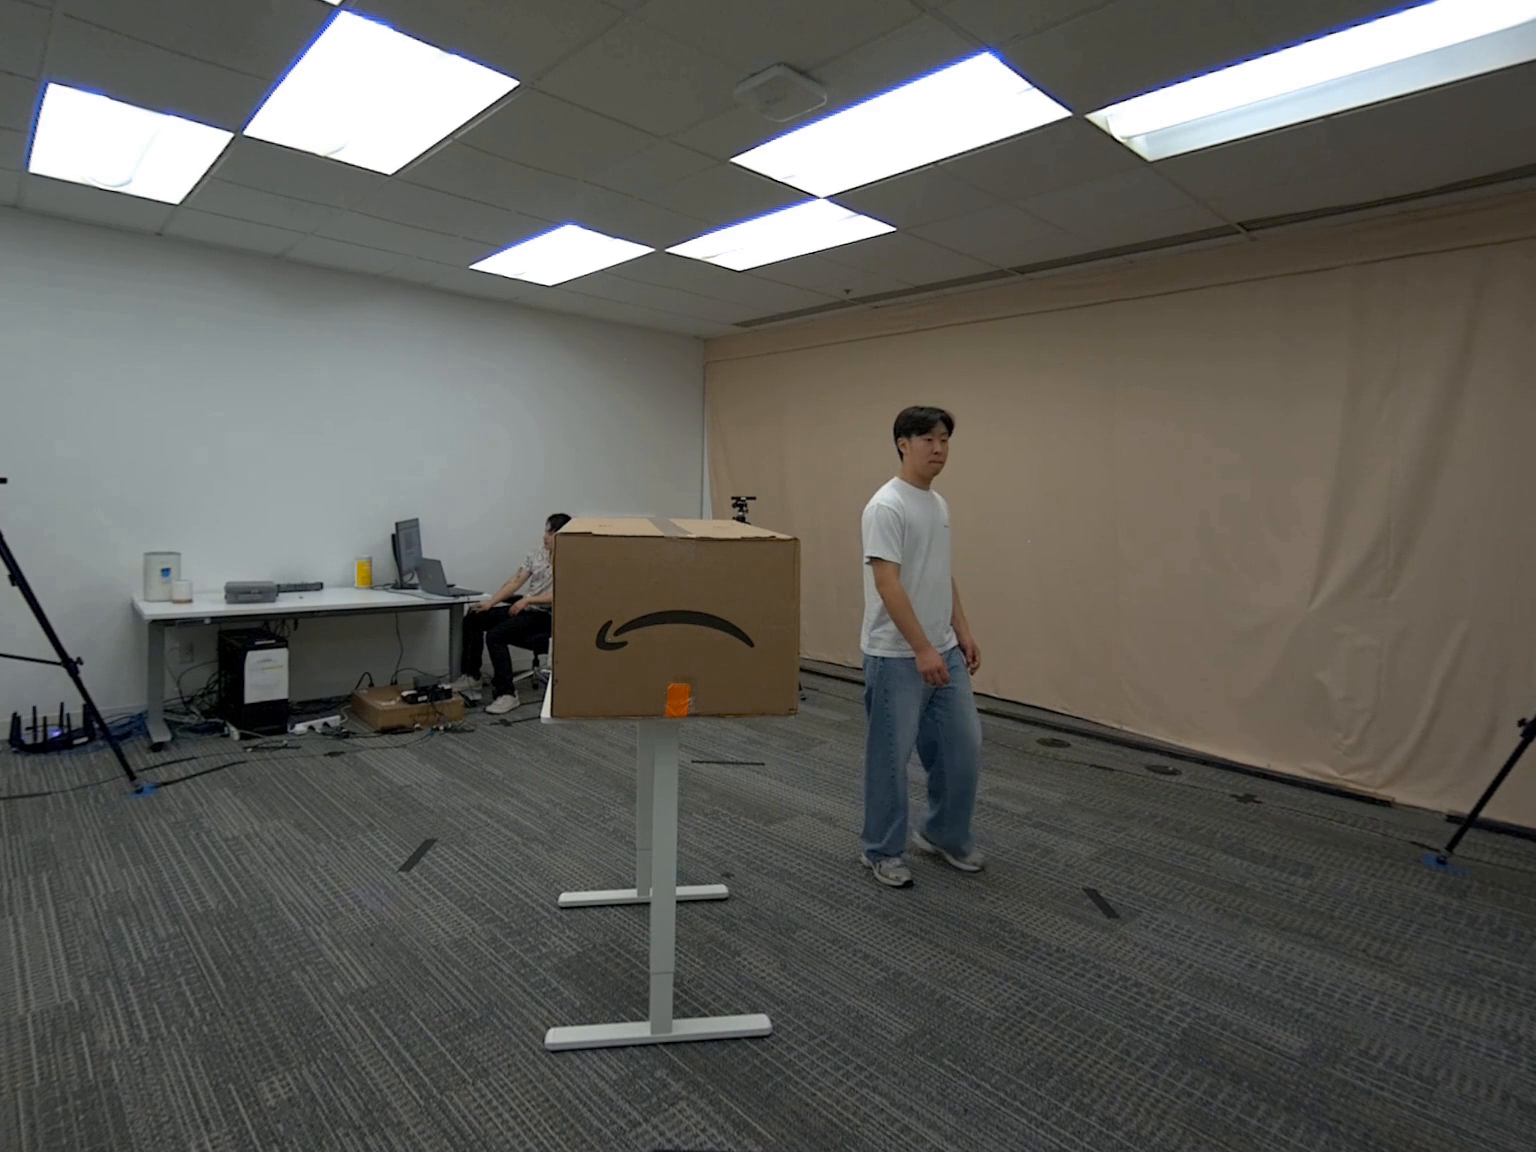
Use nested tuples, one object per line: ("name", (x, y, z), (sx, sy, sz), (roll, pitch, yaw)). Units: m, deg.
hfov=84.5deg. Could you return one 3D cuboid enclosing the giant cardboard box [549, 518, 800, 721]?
("giant cardboard box", (-0.303, 0.071, 2.444), (0.573, 0.425, 1.037), (1, 6, -10))
